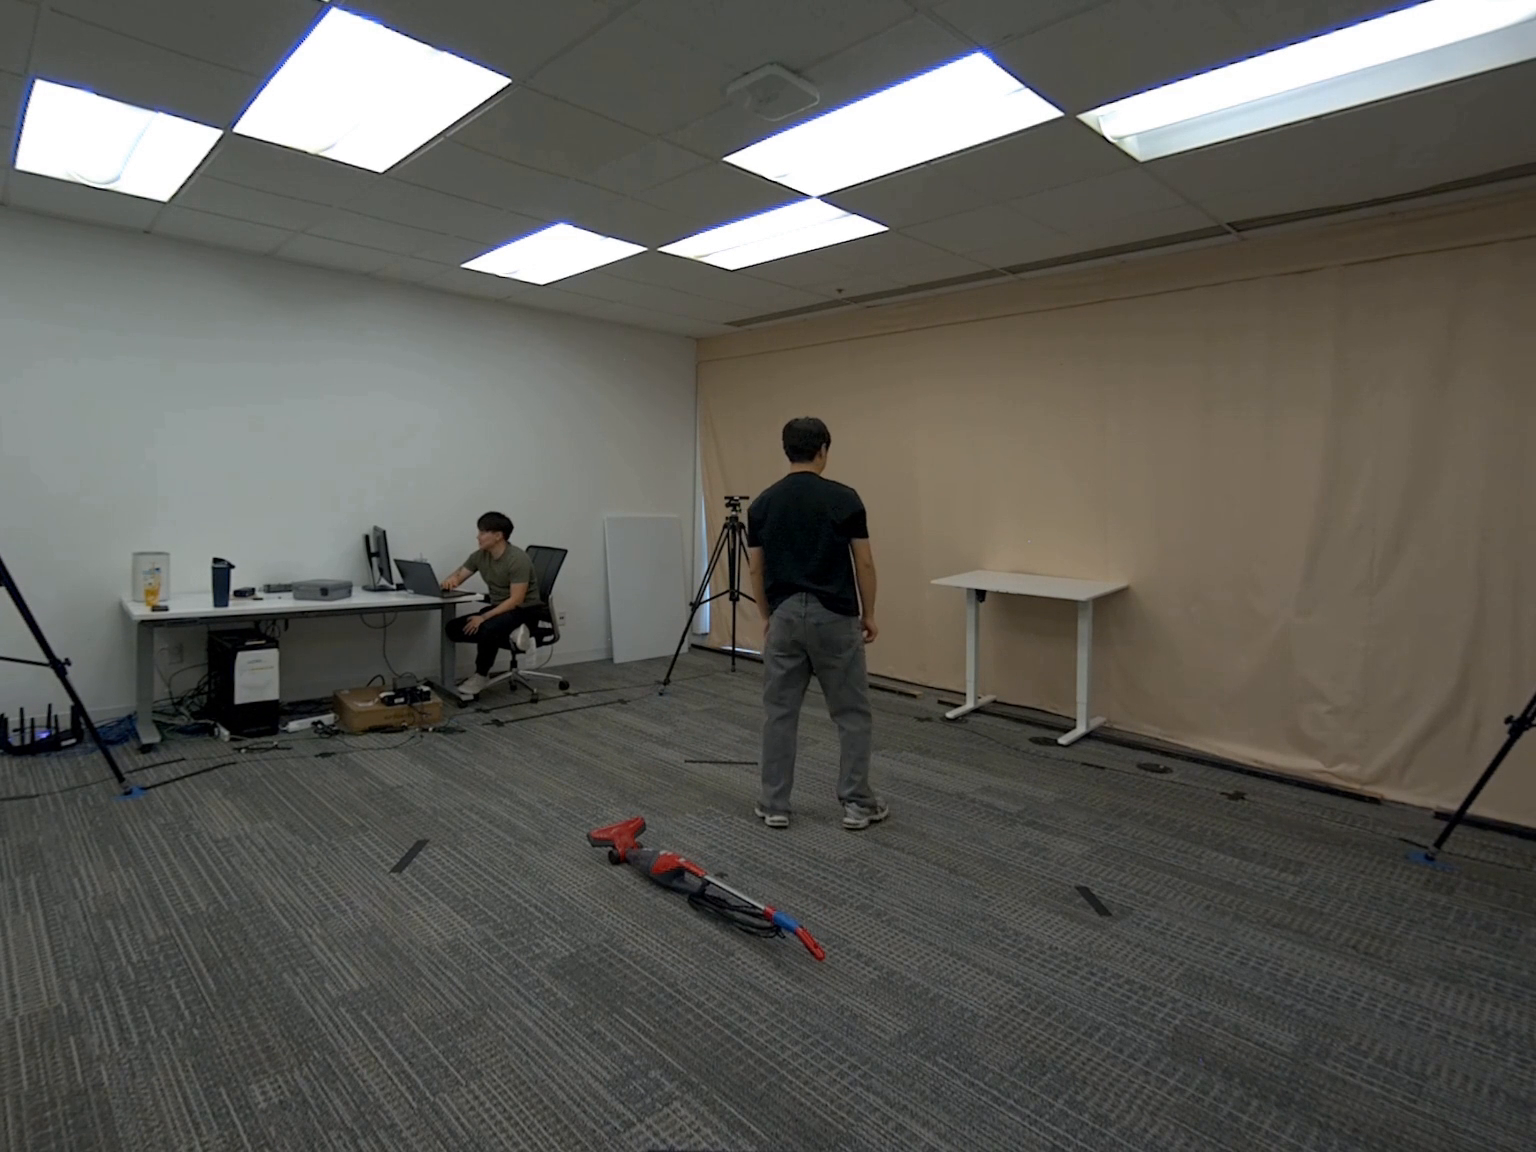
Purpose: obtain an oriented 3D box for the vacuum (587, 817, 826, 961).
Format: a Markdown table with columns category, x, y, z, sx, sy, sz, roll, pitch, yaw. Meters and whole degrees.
| category | x | y | z | sx | sy | sz | roll | pitch | yaw |
| --- | --- | --- | --- | --- | --- | --- | --- | --- | --- |
| vacuum | -0.217 | 1.069 | 2.852 | 0.247 | 0.143 | 1.076 | -4 | 7 | -41 |
